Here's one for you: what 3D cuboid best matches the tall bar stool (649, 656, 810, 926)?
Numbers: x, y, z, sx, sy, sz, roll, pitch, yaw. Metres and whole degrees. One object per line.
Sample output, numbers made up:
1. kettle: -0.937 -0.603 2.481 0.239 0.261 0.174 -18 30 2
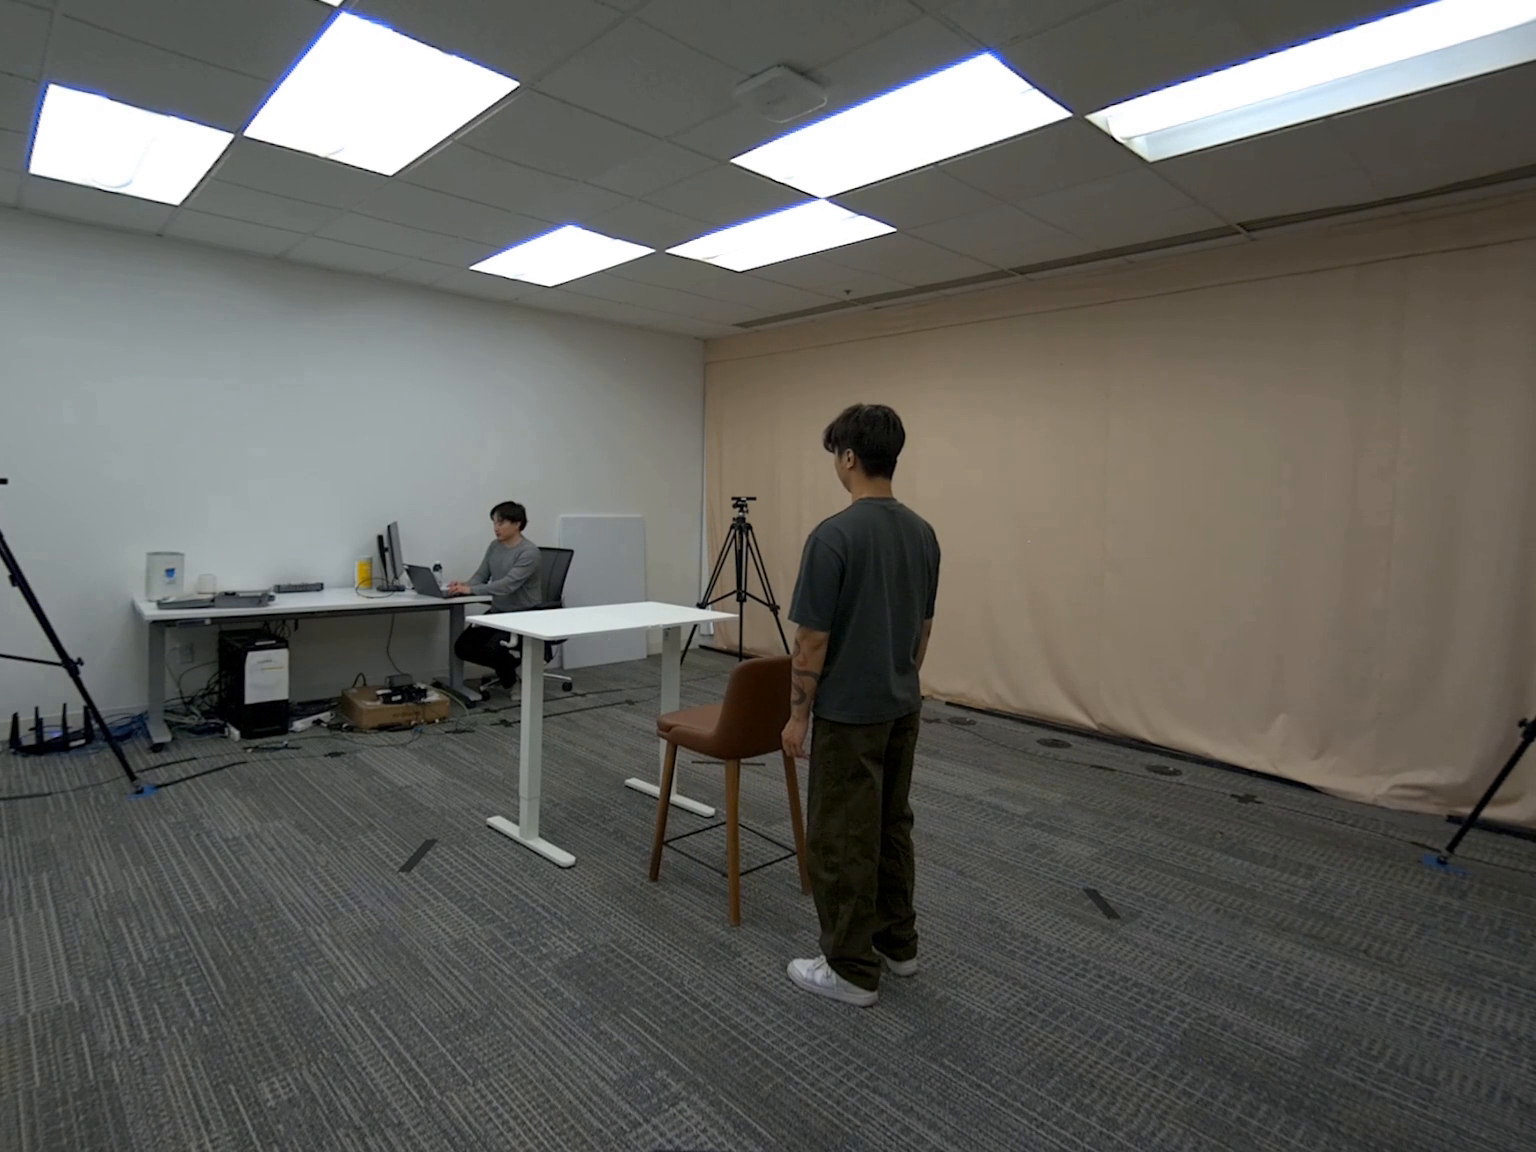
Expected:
1. tall bar stool: -0.120 0.682 2.985 0.446 0.887 0.480 -2 7 -43
